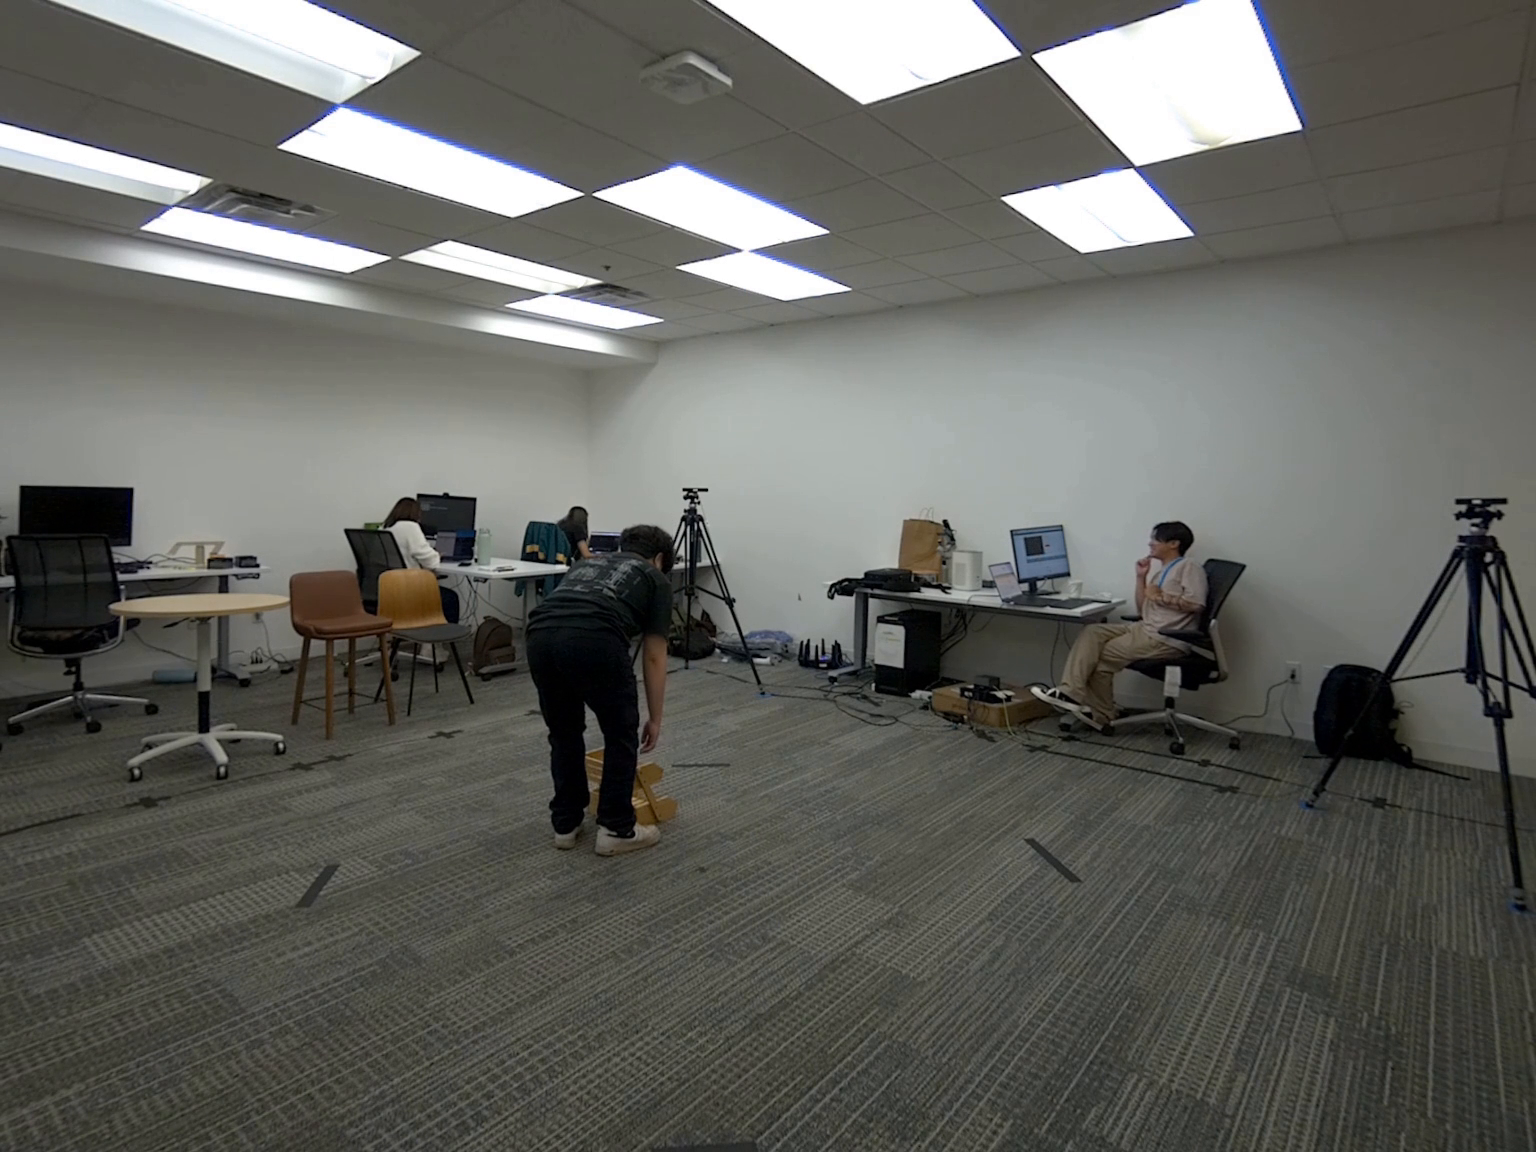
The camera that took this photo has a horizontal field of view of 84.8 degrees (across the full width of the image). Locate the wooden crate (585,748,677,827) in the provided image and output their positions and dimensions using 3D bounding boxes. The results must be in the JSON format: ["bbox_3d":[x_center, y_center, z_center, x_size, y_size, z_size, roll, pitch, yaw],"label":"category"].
[{"bbox_3d":[-0.604,0.882,3.619,0.335,0.272,0.293,4,6,38],"label":"wooden crate"}]
